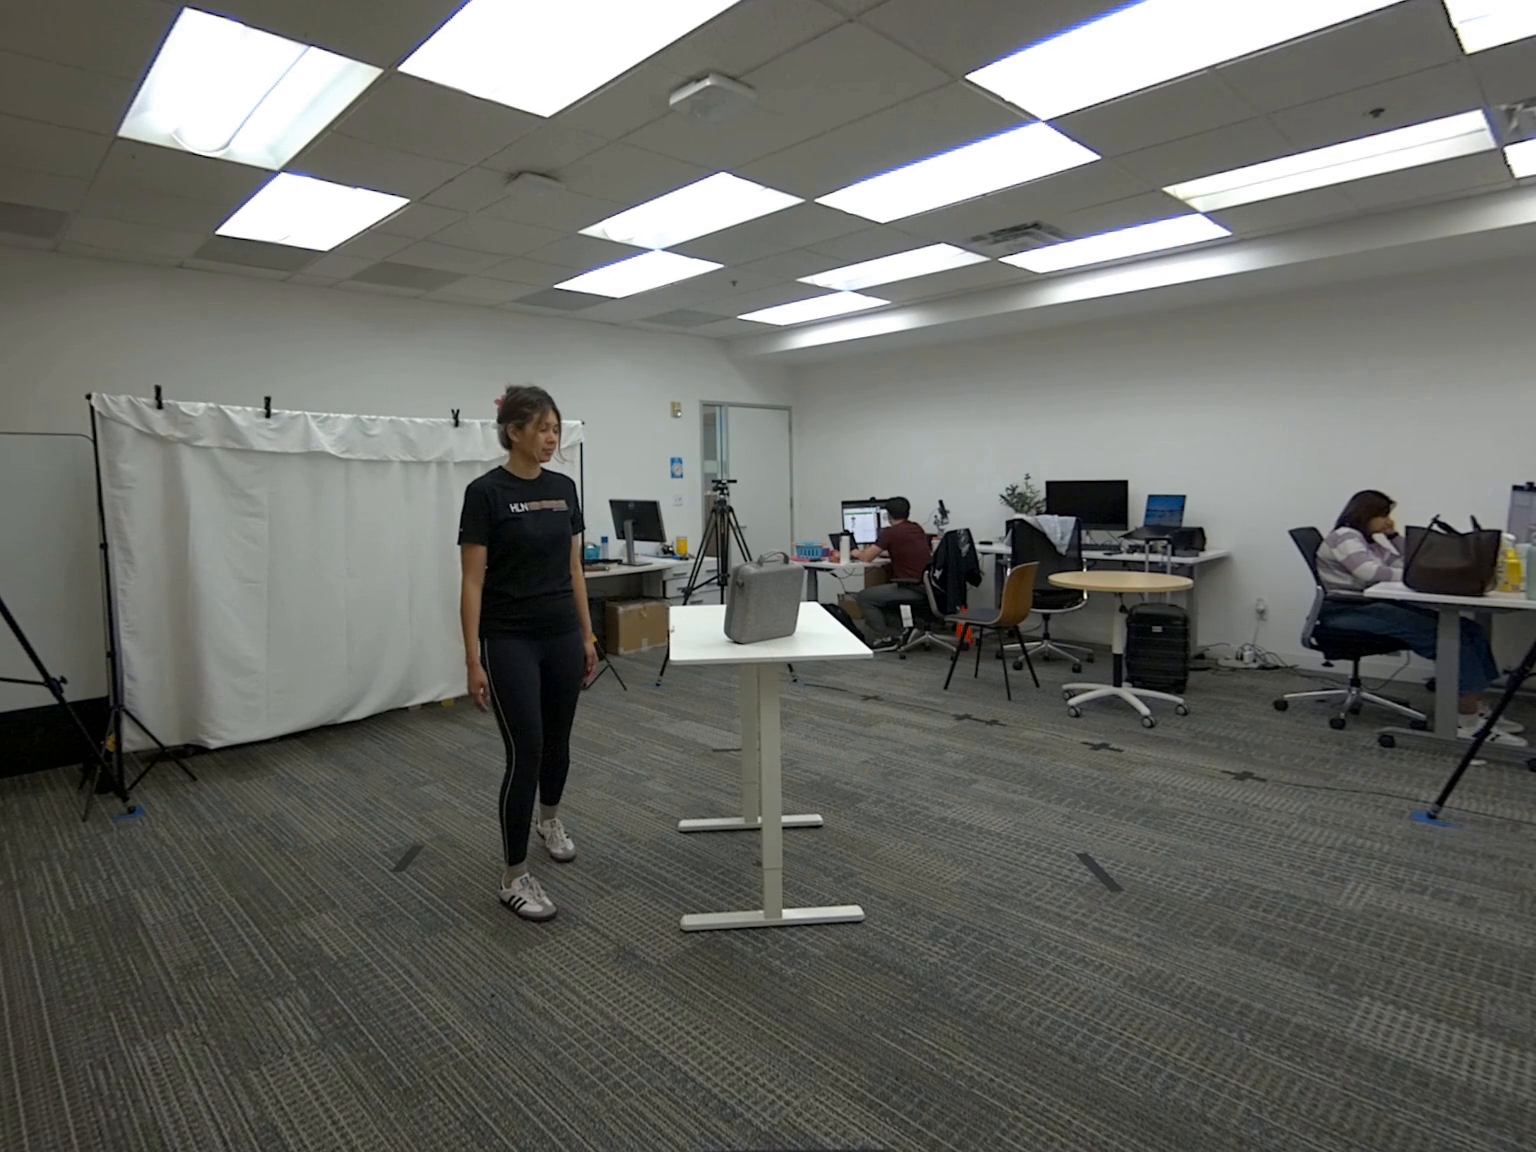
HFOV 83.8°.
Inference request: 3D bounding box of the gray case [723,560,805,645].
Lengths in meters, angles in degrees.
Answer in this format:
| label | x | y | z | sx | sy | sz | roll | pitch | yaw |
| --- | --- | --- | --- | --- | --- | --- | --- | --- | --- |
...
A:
| label | x | y | z | sx | sy | sz | roll | pitch | yaw |
| --- | --- | --- | --- | --- | --- | --- | --- | --- | --- |
| gray case | -0.007 | 0.074 | 2.753 | 0.250 | 0.258 | 0.108 | -7 | 19 | -39 |
